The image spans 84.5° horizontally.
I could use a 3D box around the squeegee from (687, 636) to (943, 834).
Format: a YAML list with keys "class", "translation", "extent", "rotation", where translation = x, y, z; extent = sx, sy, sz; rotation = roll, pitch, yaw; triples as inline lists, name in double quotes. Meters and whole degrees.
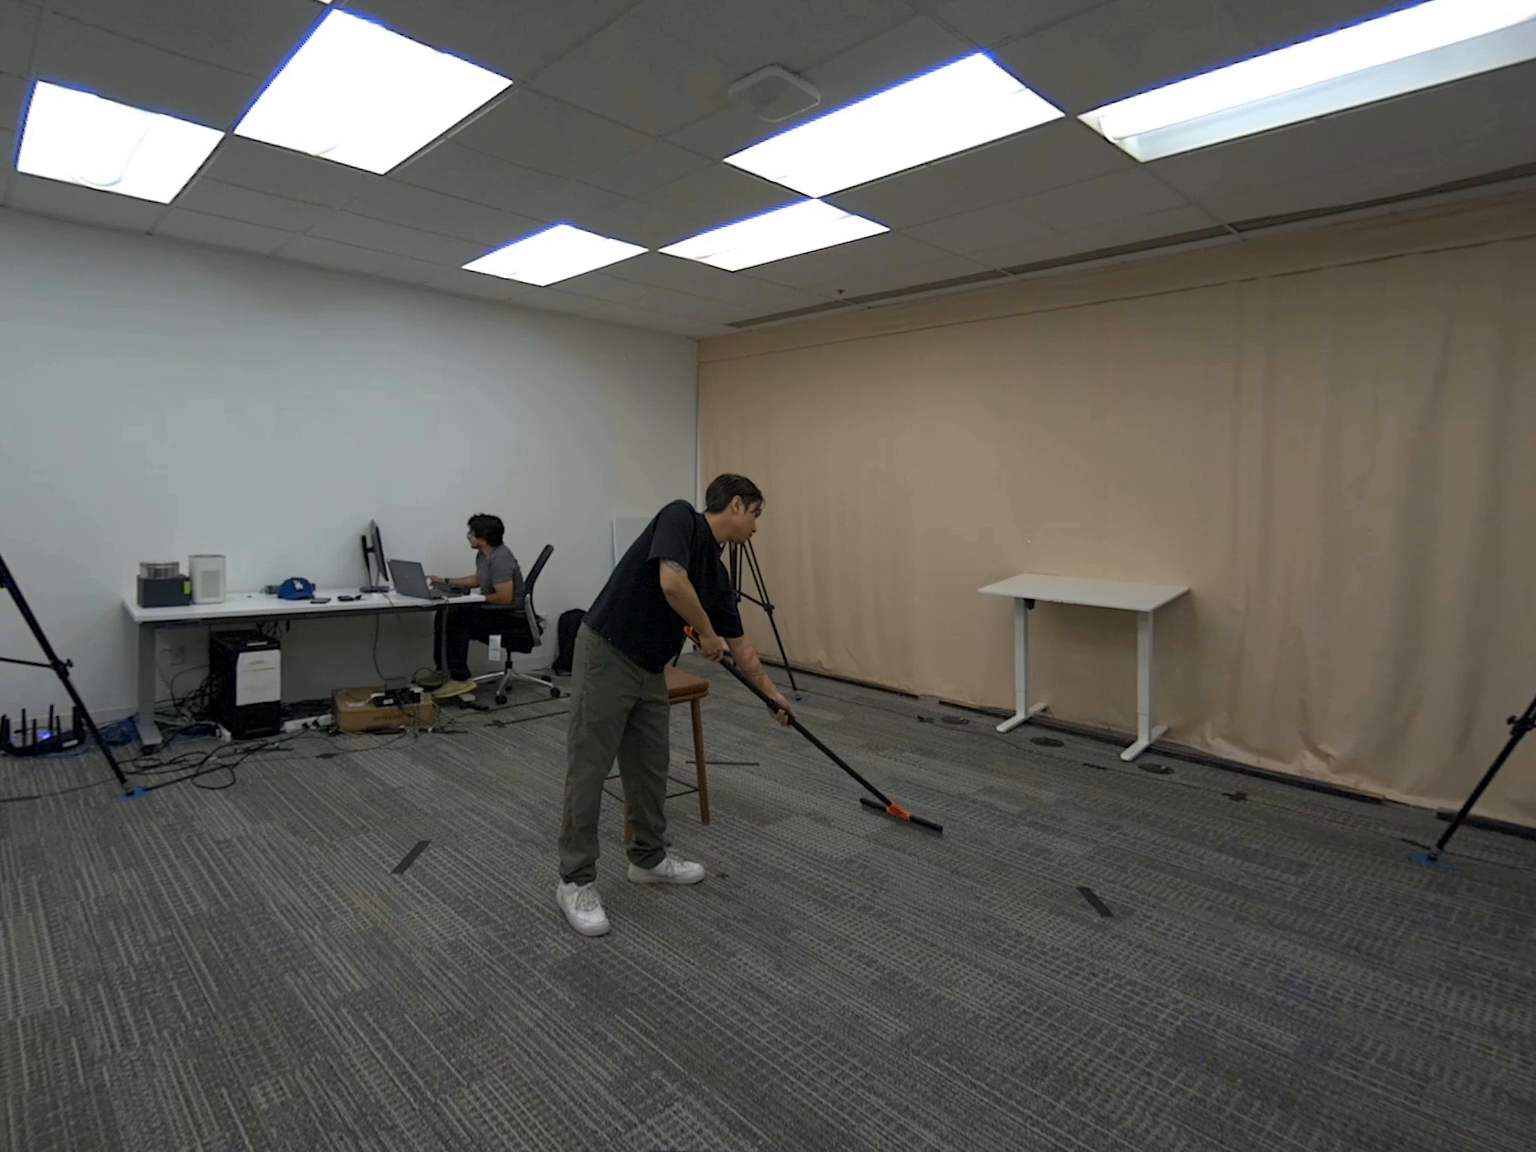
- class: "squeegee"
  translation: [0.147, 0.594, 3.254]
  extent: [0.449, 0.053, 1.491]
  rotation: [8, -30, 48]
